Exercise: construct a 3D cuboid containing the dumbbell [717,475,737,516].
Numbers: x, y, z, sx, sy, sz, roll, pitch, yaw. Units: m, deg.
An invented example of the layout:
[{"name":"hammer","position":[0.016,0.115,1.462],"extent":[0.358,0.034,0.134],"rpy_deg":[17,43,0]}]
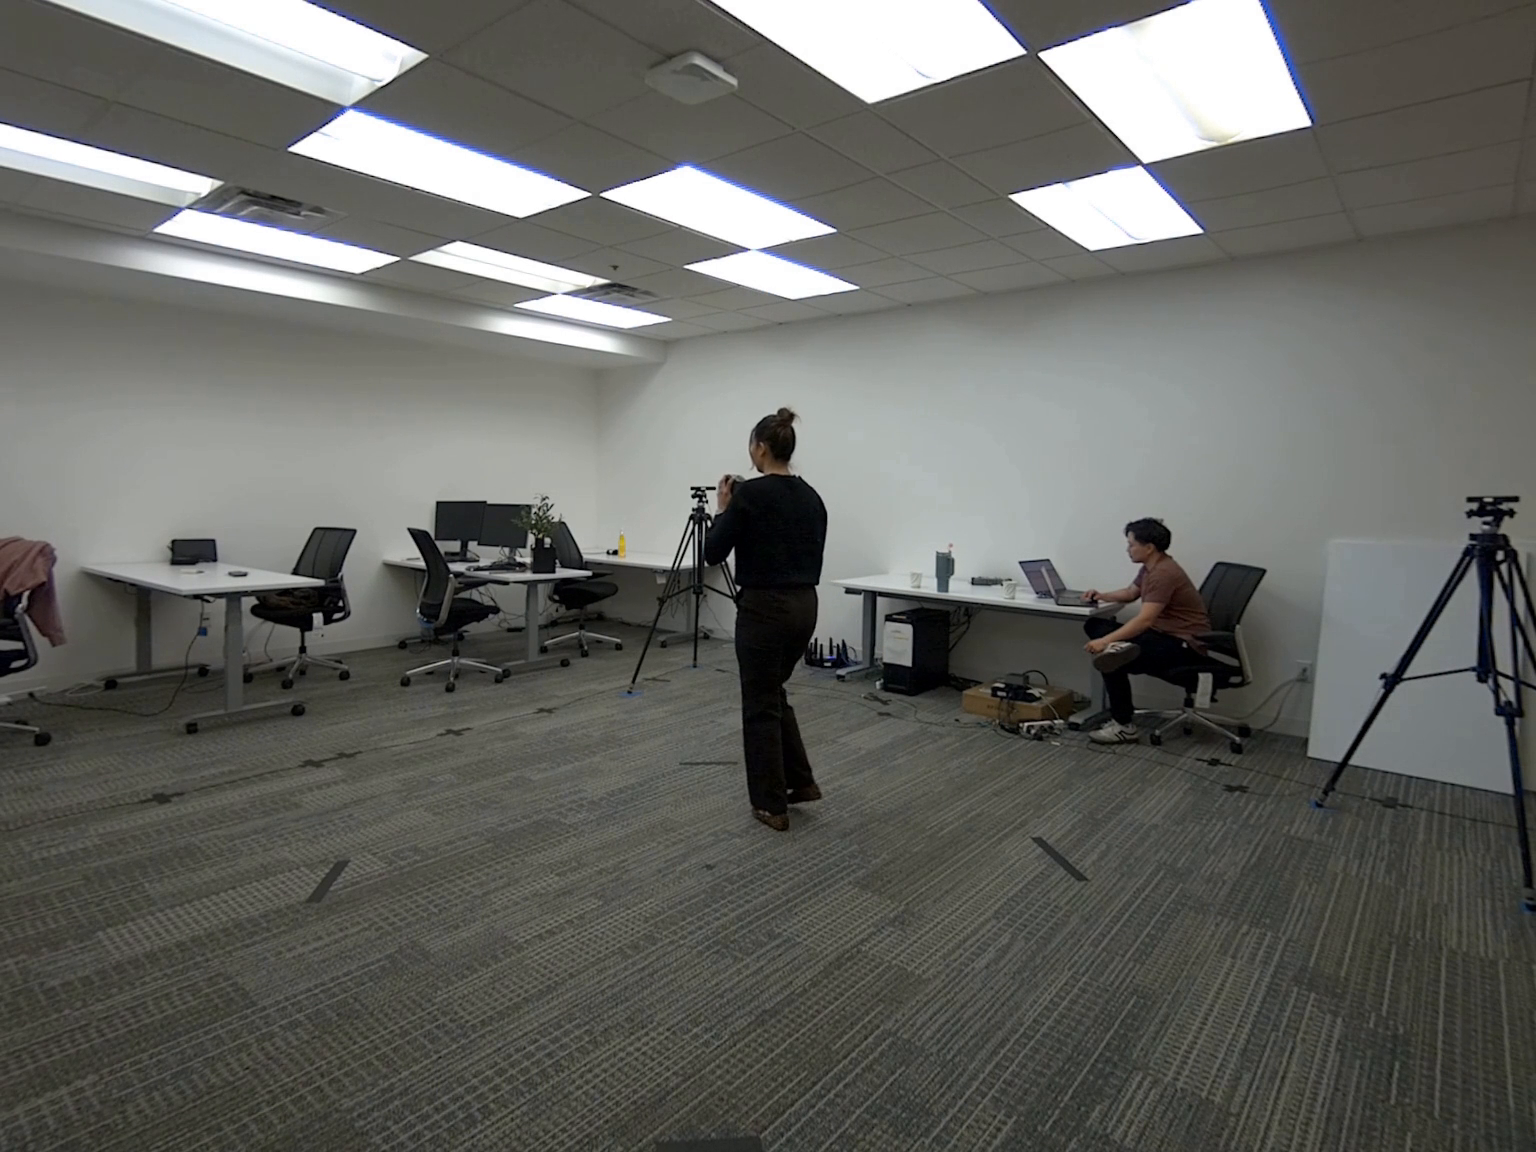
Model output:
[{"name":"dumbbell","position":[-0.069,-0.361,3.599],"extent":[0.285,0.107,0.128],"rpy_deg":[0,31,-31]}]
